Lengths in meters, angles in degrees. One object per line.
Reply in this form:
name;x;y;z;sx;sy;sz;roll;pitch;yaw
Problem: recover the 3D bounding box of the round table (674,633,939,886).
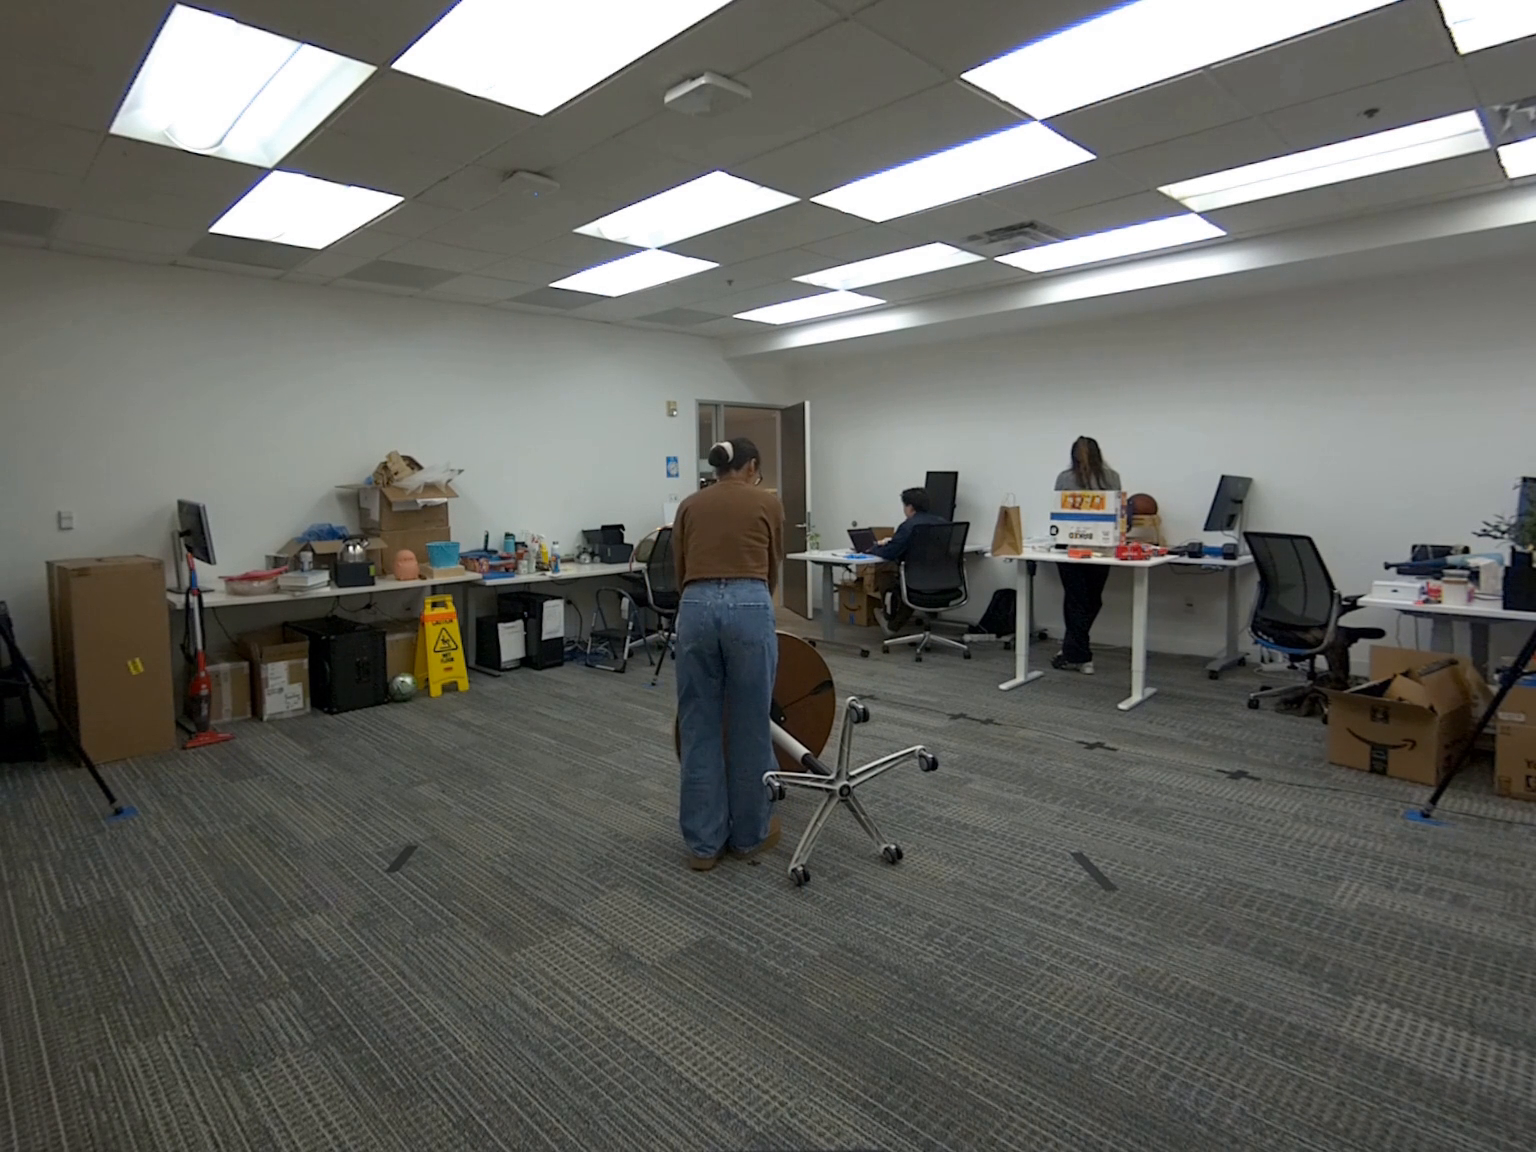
round table;0.133;0.686;3.300;0.748;0.757;0.819;-3;13;-26
